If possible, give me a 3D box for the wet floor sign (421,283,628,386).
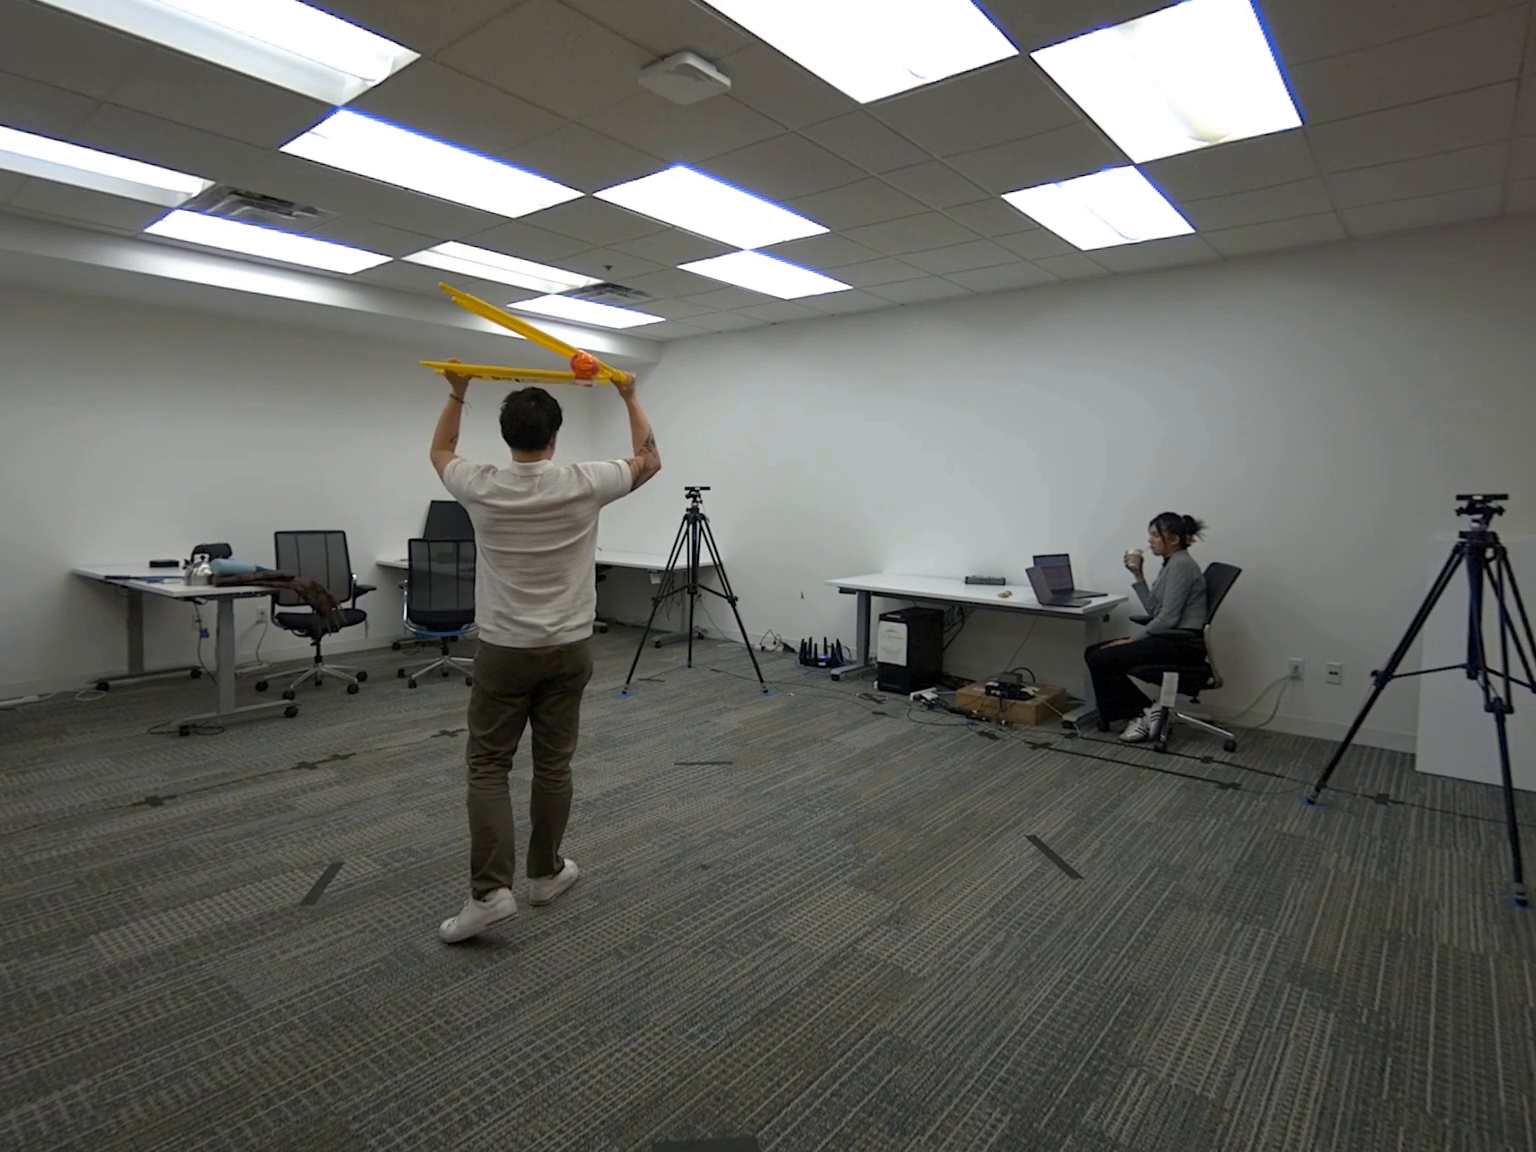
[{"bbox_3d":[-0.805,-0.742,2.868,0.642,0.289,0.284,14,2,-5],"label":"wet floor sign"}]
